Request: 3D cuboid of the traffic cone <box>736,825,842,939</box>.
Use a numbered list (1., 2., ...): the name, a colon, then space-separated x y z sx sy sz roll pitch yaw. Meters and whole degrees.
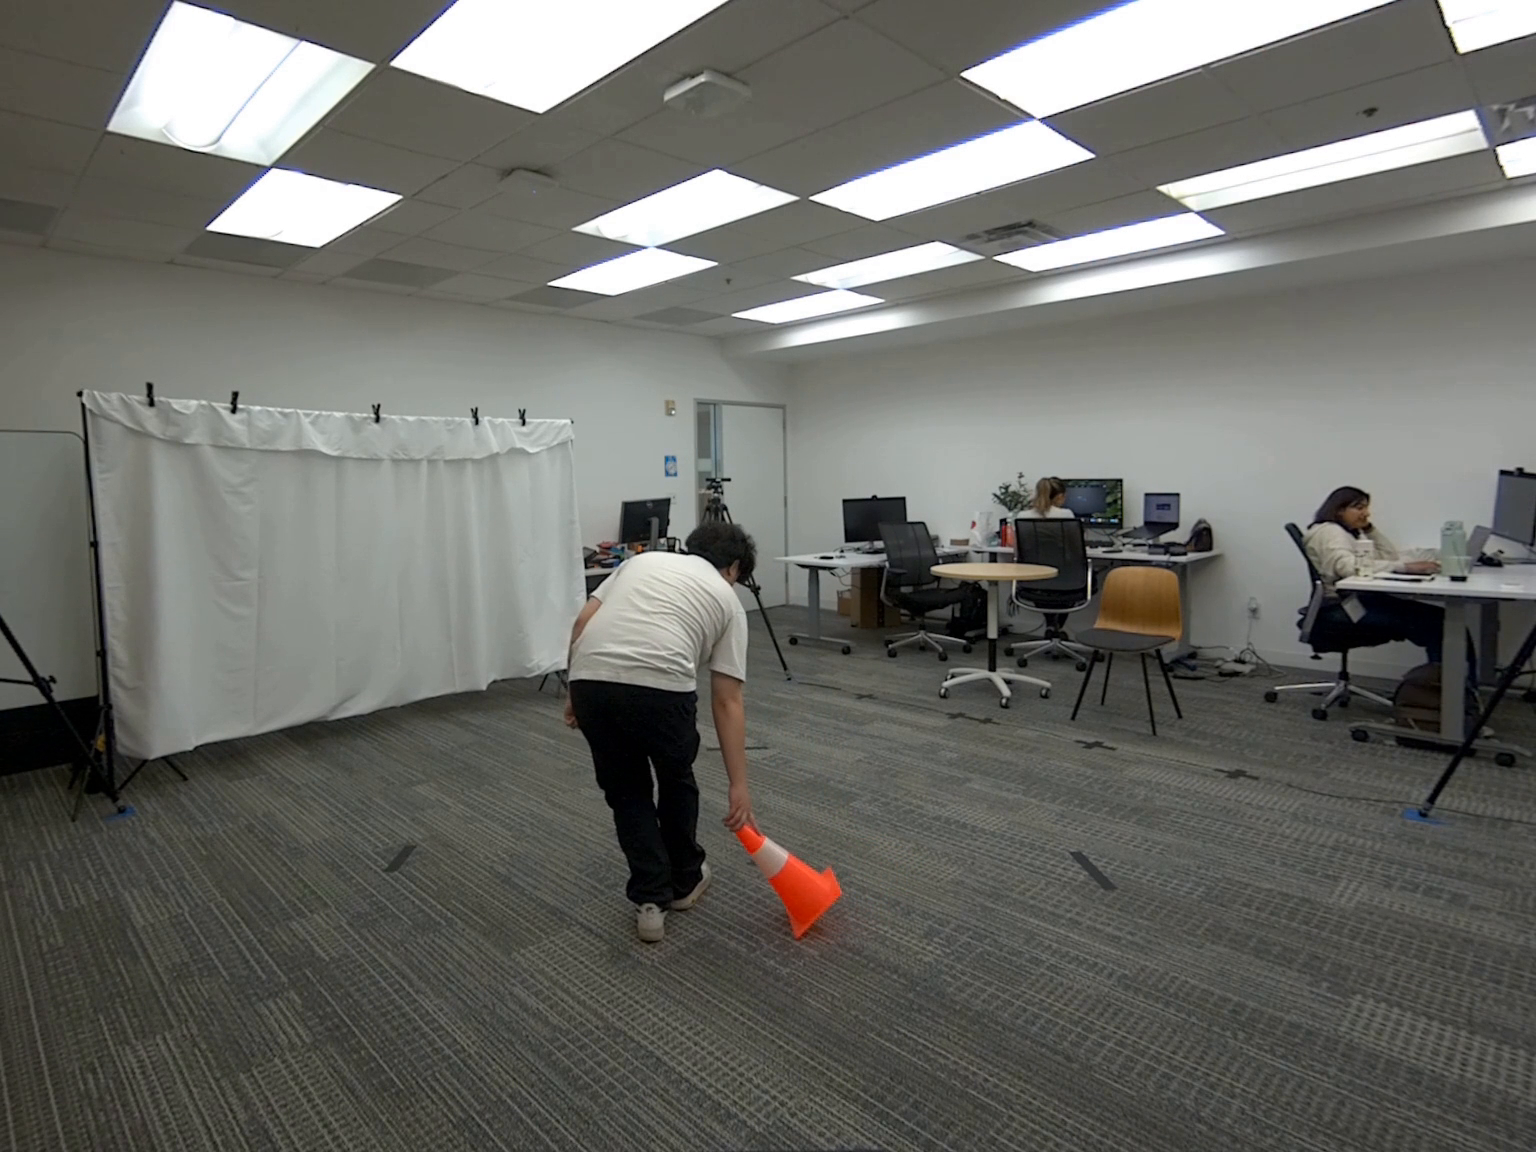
1. traffic cone: 0.017 0.881 2.669 0.203 0.382 0.205 -42 3 6
